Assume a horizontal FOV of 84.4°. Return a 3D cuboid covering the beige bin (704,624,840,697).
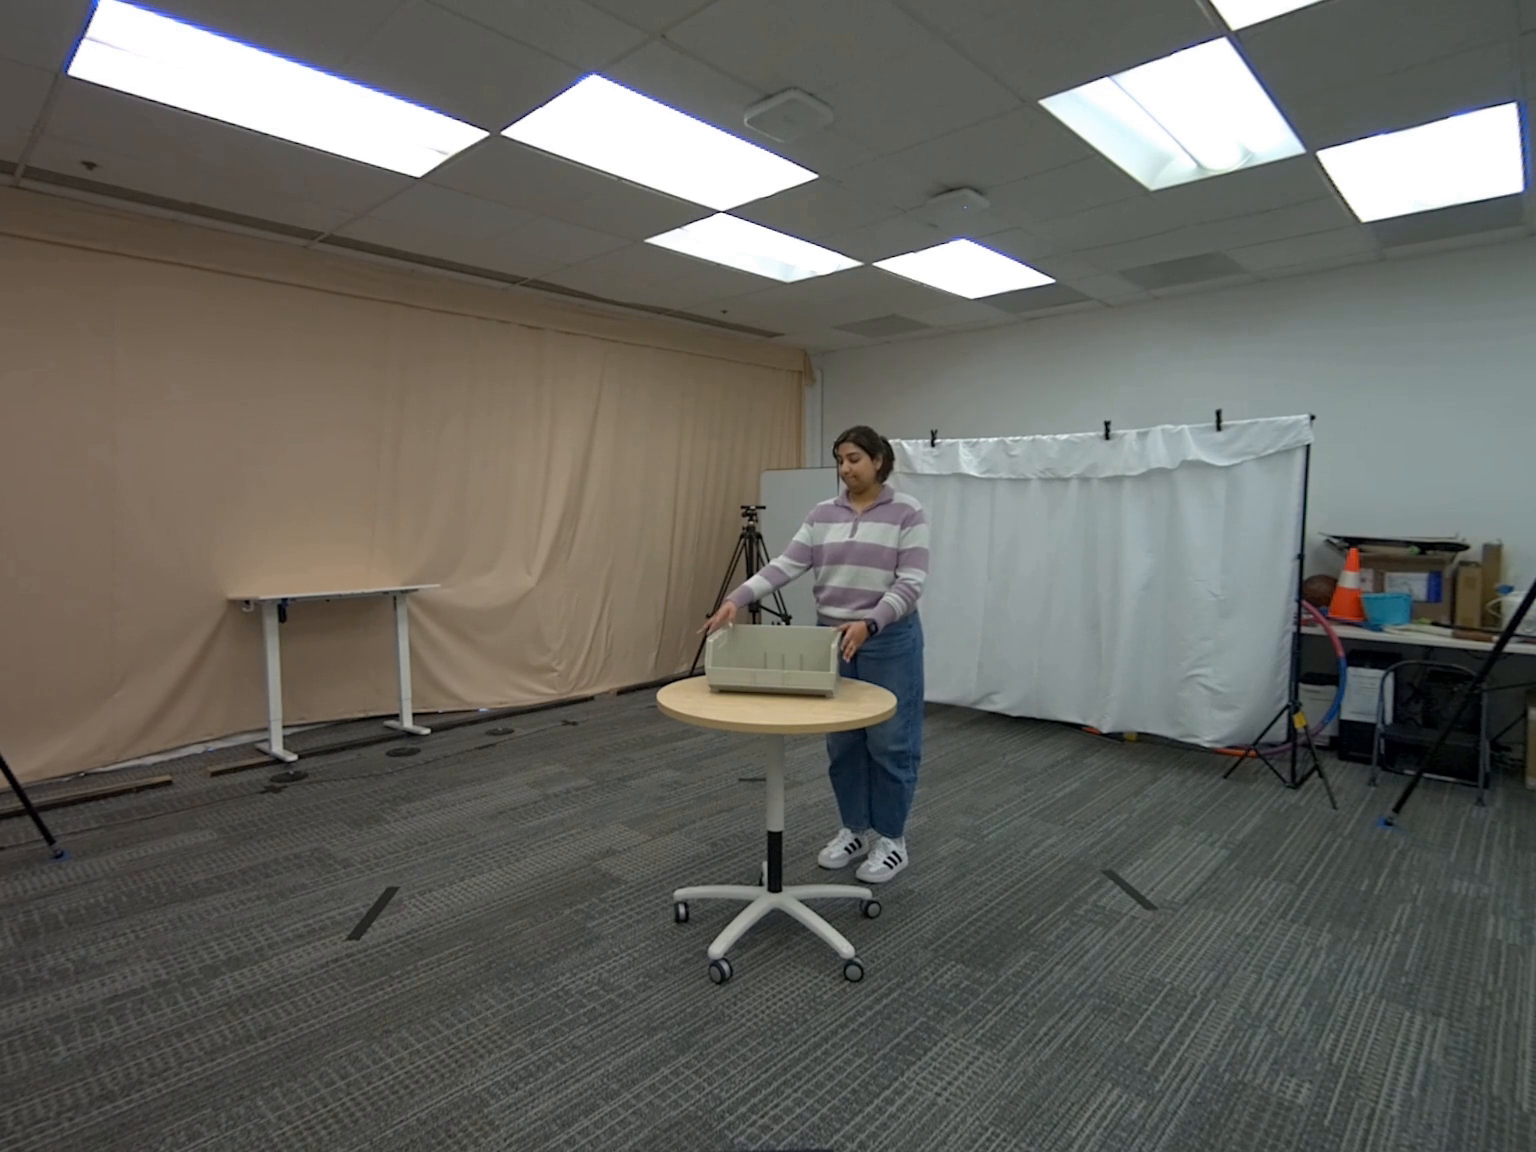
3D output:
[{"bbox_3d":[0.038,0.289,2.835,0.426,0.188,0.375,1,5,8],"label":"beige bin"}]
